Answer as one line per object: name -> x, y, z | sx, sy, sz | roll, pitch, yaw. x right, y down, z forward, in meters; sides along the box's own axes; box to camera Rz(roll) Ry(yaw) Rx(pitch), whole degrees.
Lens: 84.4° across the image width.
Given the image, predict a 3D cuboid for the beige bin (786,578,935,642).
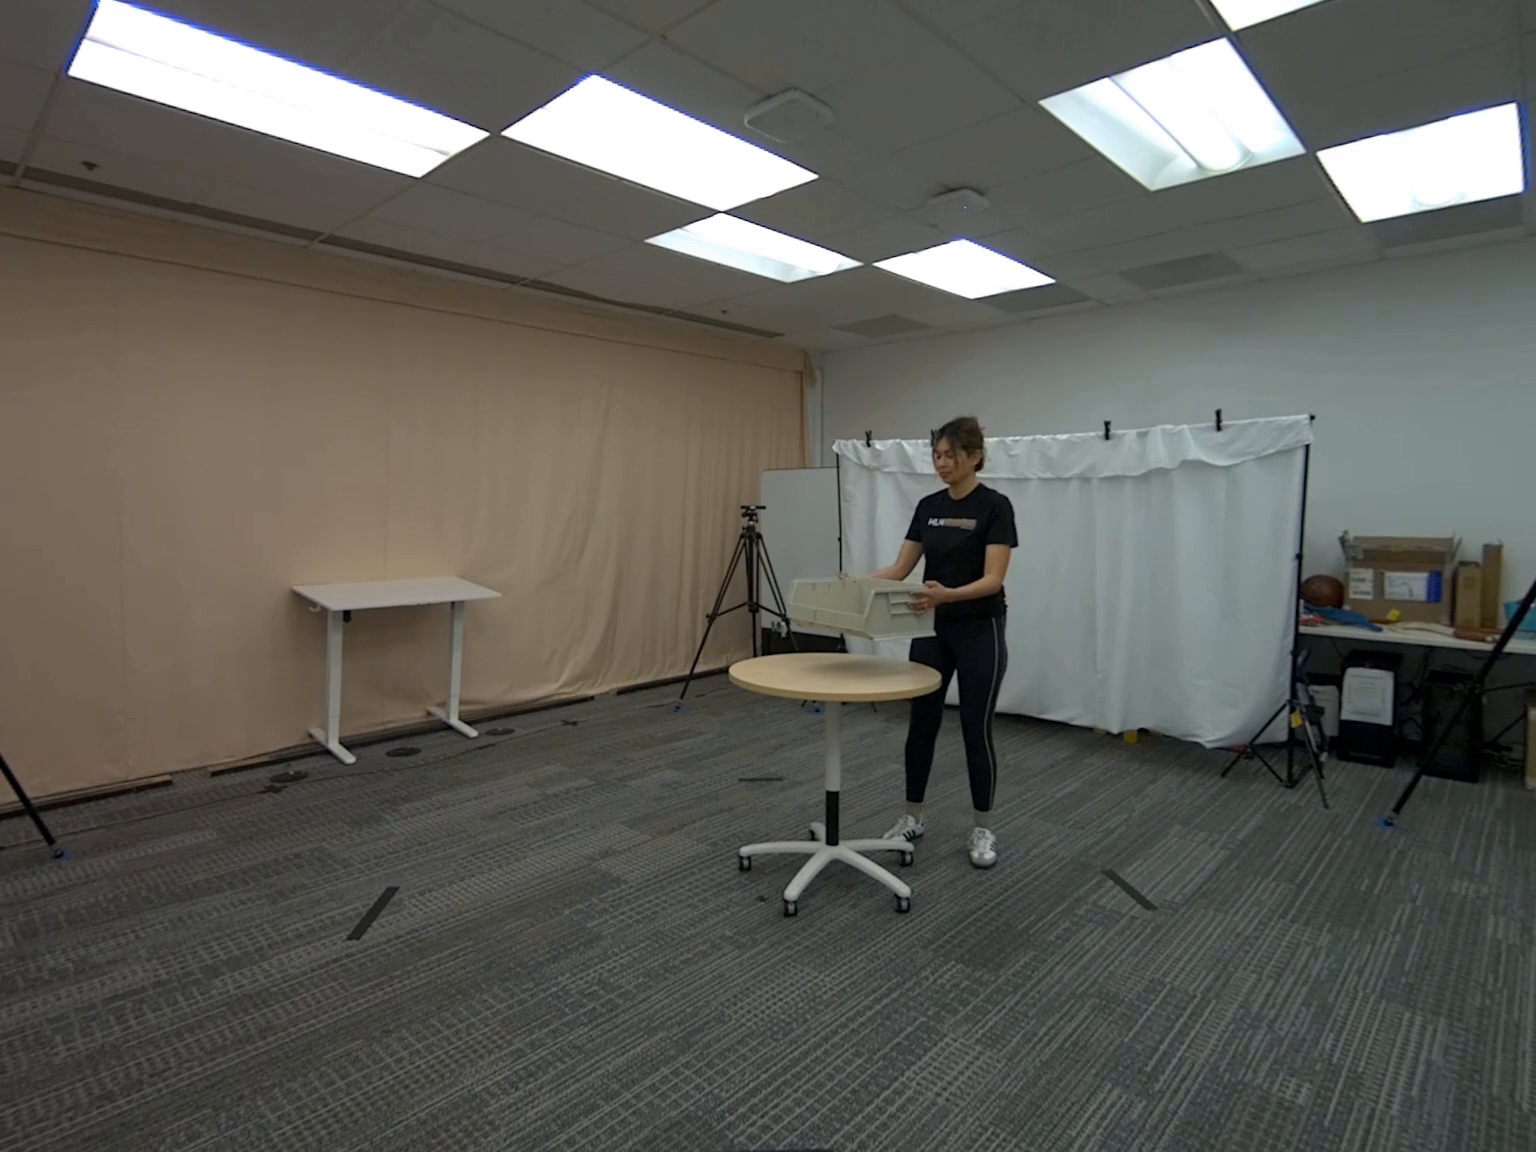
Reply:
beige bin -> 0.346, 0.118, 3.081 | 0.366, 0.189, 0.436 | 0, 4, -37
